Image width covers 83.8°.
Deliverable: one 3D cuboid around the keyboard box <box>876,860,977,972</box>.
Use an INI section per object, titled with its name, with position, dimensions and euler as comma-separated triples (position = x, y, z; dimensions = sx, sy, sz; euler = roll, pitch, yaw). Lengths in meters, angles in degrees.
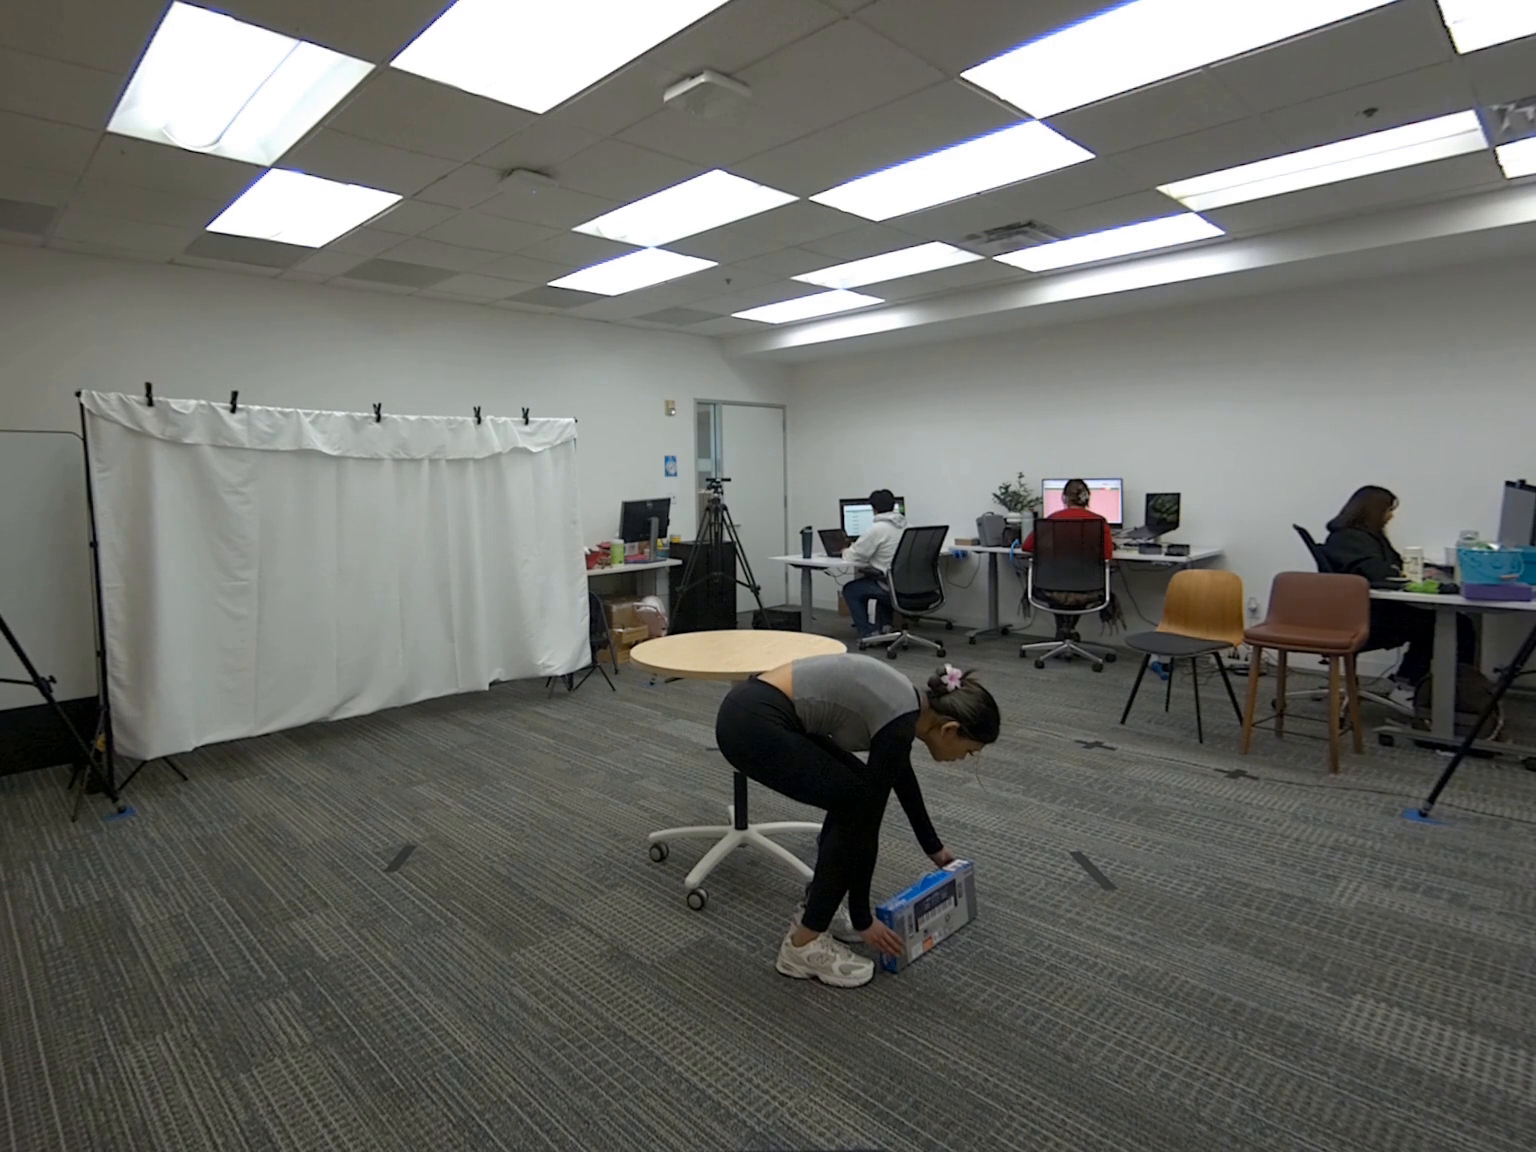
[keyboard box]
position = 0.486, 1.008, 2.563
dimensions = 0.425, 0.176, 0.061
euler = -7, 2, -44
